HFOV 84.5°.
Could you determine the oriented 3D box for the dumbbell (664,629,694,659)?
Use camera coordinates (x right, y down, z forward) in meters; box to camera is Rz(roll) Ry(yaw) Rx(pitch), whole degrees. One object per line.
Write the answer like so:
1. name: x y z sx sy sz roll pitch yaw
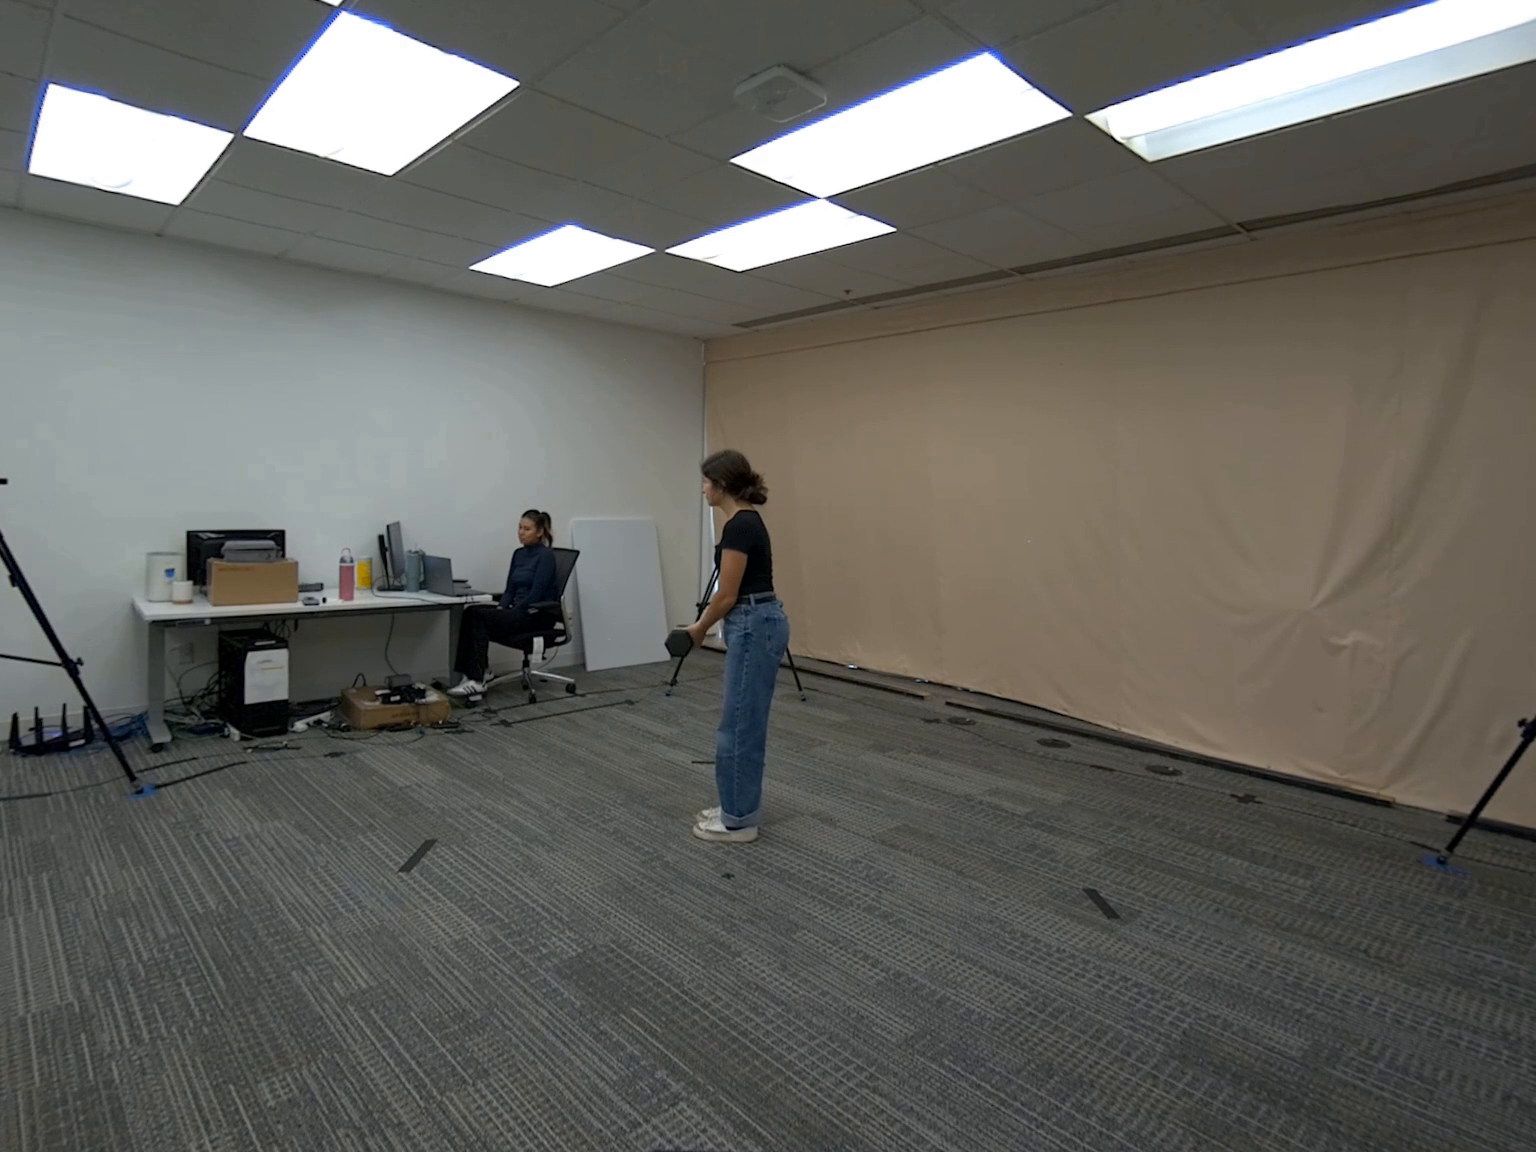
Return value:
1. dumbbell: -0.369 0.267 3.567 0.108 0.123 0.294 32 2 -3
